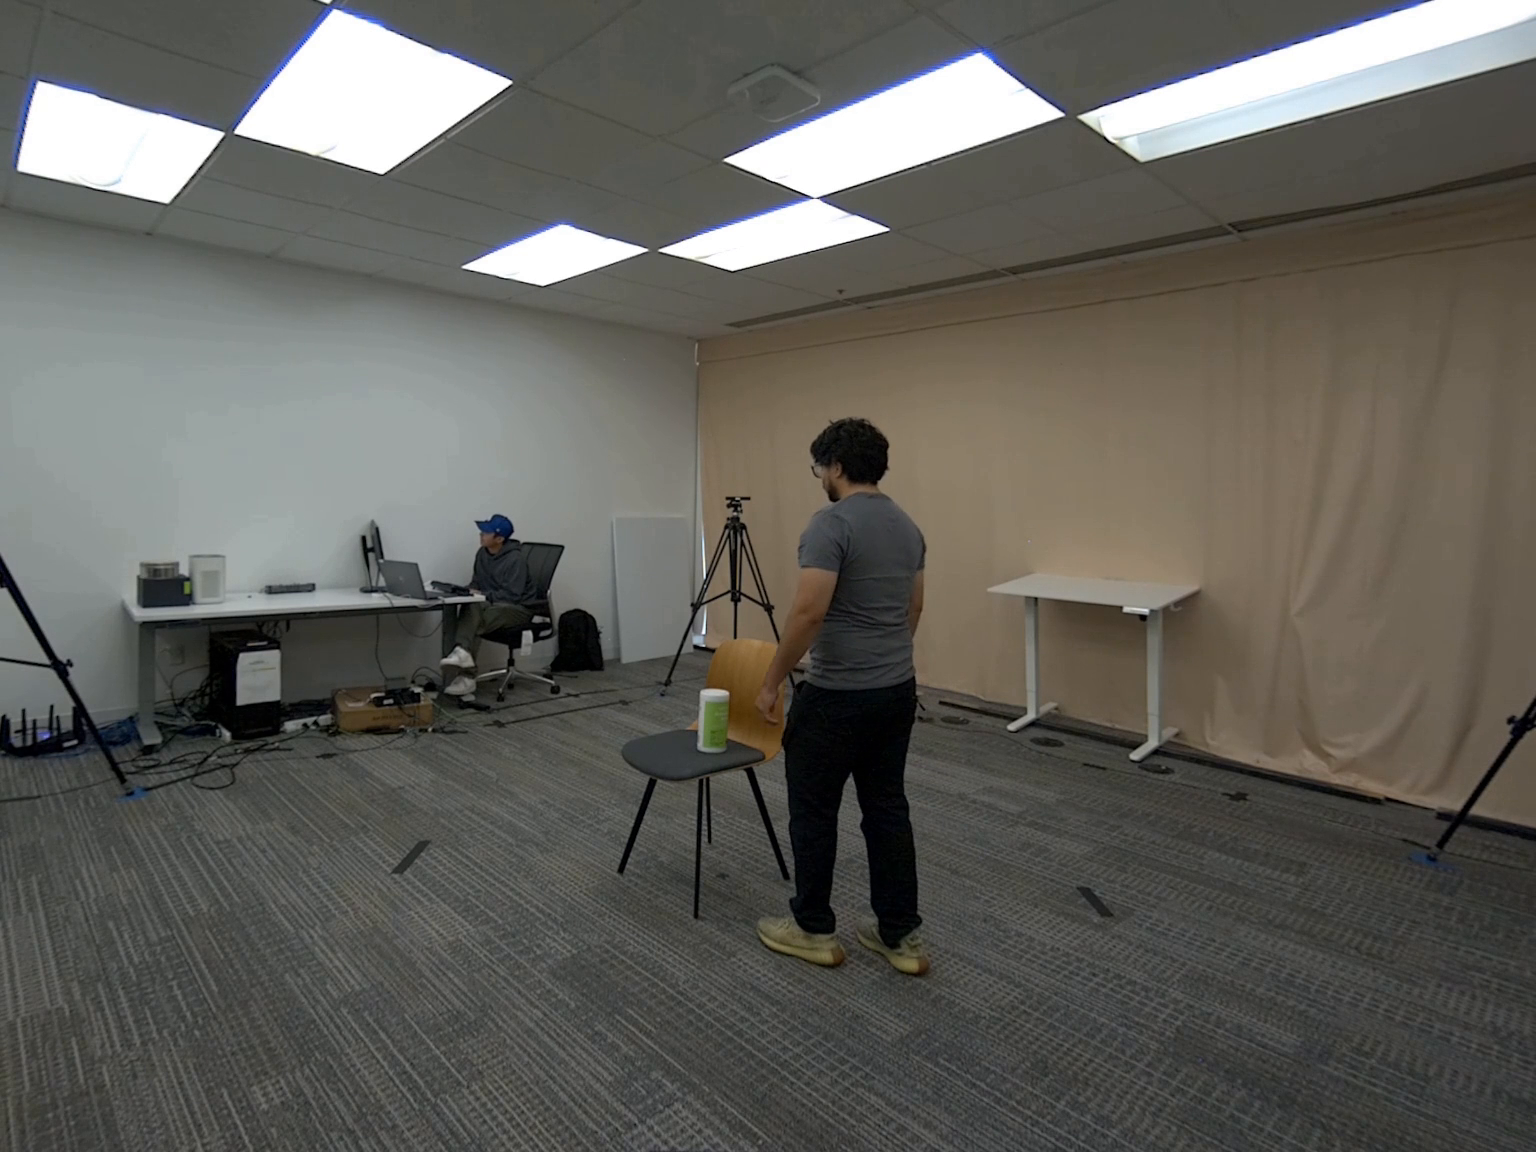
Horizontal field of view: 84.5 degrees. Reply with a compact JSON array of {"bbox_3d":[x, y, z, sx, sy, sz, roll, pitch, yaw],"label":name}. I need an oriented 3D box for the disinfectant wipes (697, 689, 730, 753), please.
[{"bbox_3d":[-0.207,0.528,3.082,0.118,0.217,0.118,3,3,-2],"label":"disinfectant wipes"}]
